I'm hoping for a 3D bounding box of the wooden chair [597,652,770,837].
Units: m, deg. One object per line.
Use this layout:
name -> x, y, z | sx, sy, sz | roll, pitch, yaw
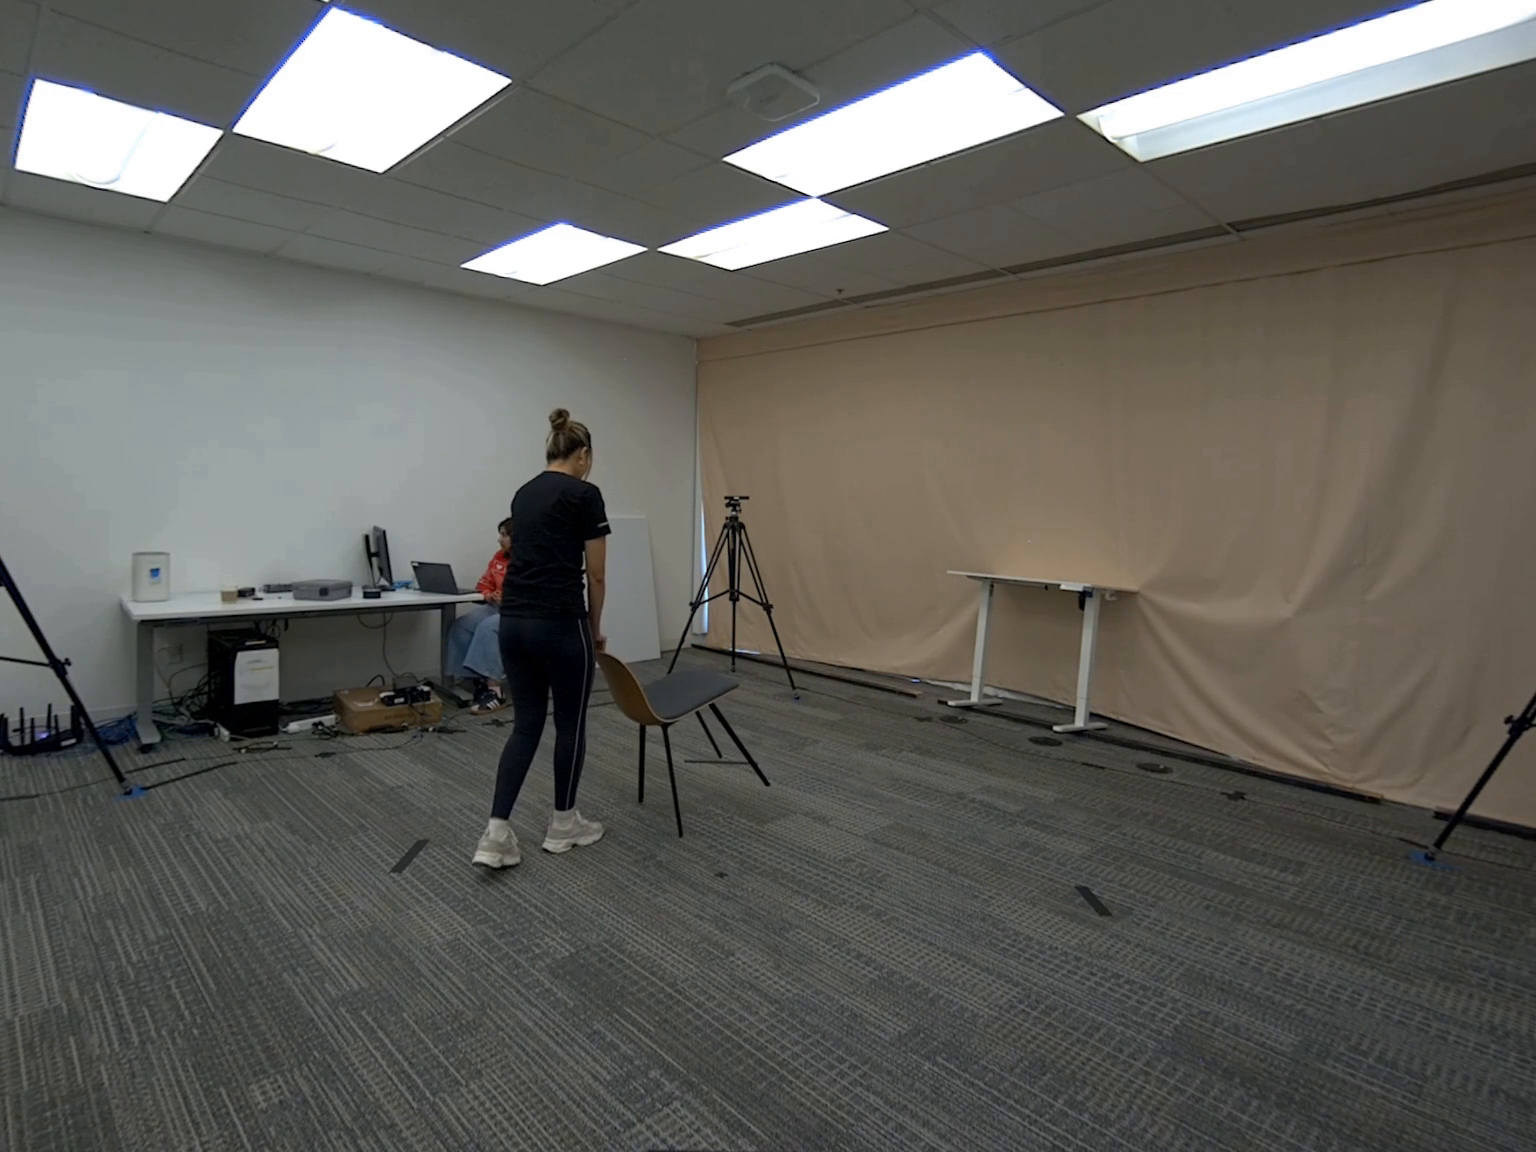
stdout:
wooden chair -> -0.406, 0.565, 3.626 | 0.519, 0.865, 0.489 | -28, 16, -26
